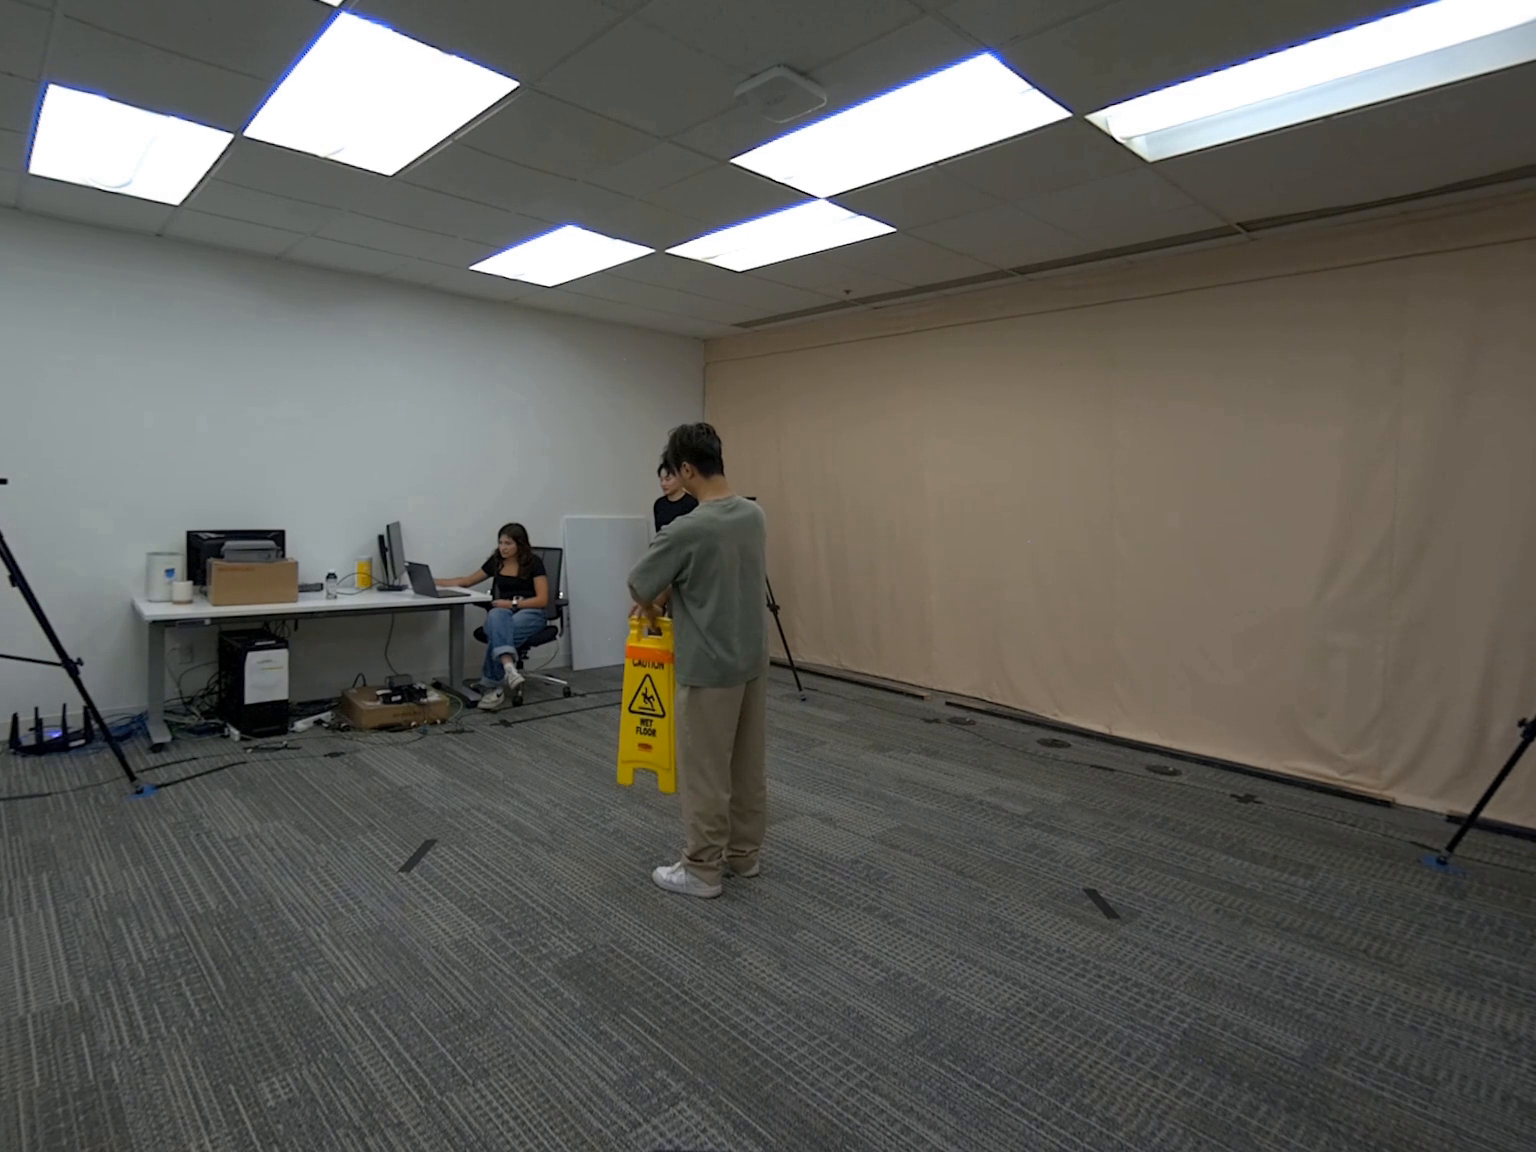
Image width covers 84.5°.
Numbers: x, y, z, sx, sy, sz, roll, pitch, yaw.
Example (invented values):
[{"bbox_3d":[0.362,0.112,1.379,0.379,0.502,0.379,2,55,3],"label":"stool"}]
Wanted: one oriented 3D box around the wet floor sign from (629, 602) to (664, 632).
[{"bbox_3d":[-0.451,0.486,3.302,0.288,0.642,0.285,0,8,29],"label":"wet floor sign"}]
